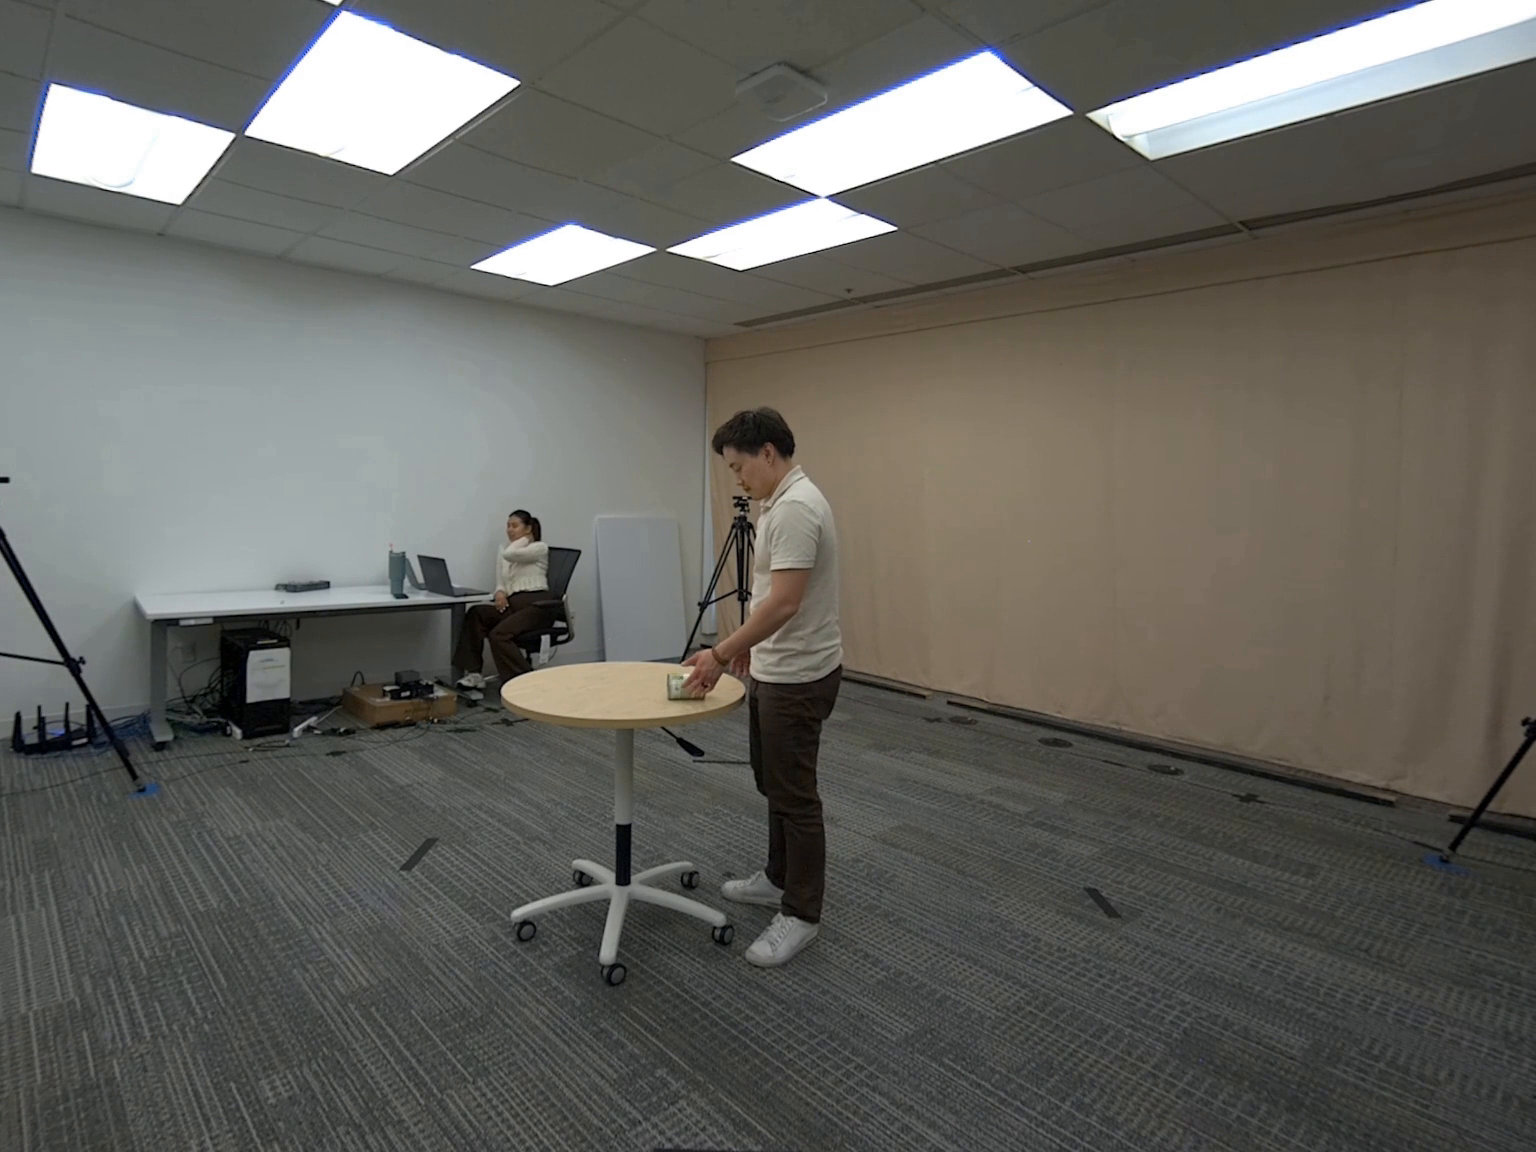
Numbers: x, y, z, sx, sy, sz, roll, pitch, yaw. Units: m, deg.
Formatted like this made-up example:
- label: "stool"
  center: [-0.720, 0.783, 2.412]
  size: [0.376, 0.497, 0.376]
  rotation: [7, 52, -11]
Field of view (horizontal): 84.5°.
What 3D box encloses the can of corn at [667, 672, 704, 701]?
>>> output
- label: "can of corn"
  center: [-0.250, 0.333, 2.532]
  size: [0.110, 0.074, 0.075]
  rotation: [1, 4, -8]
